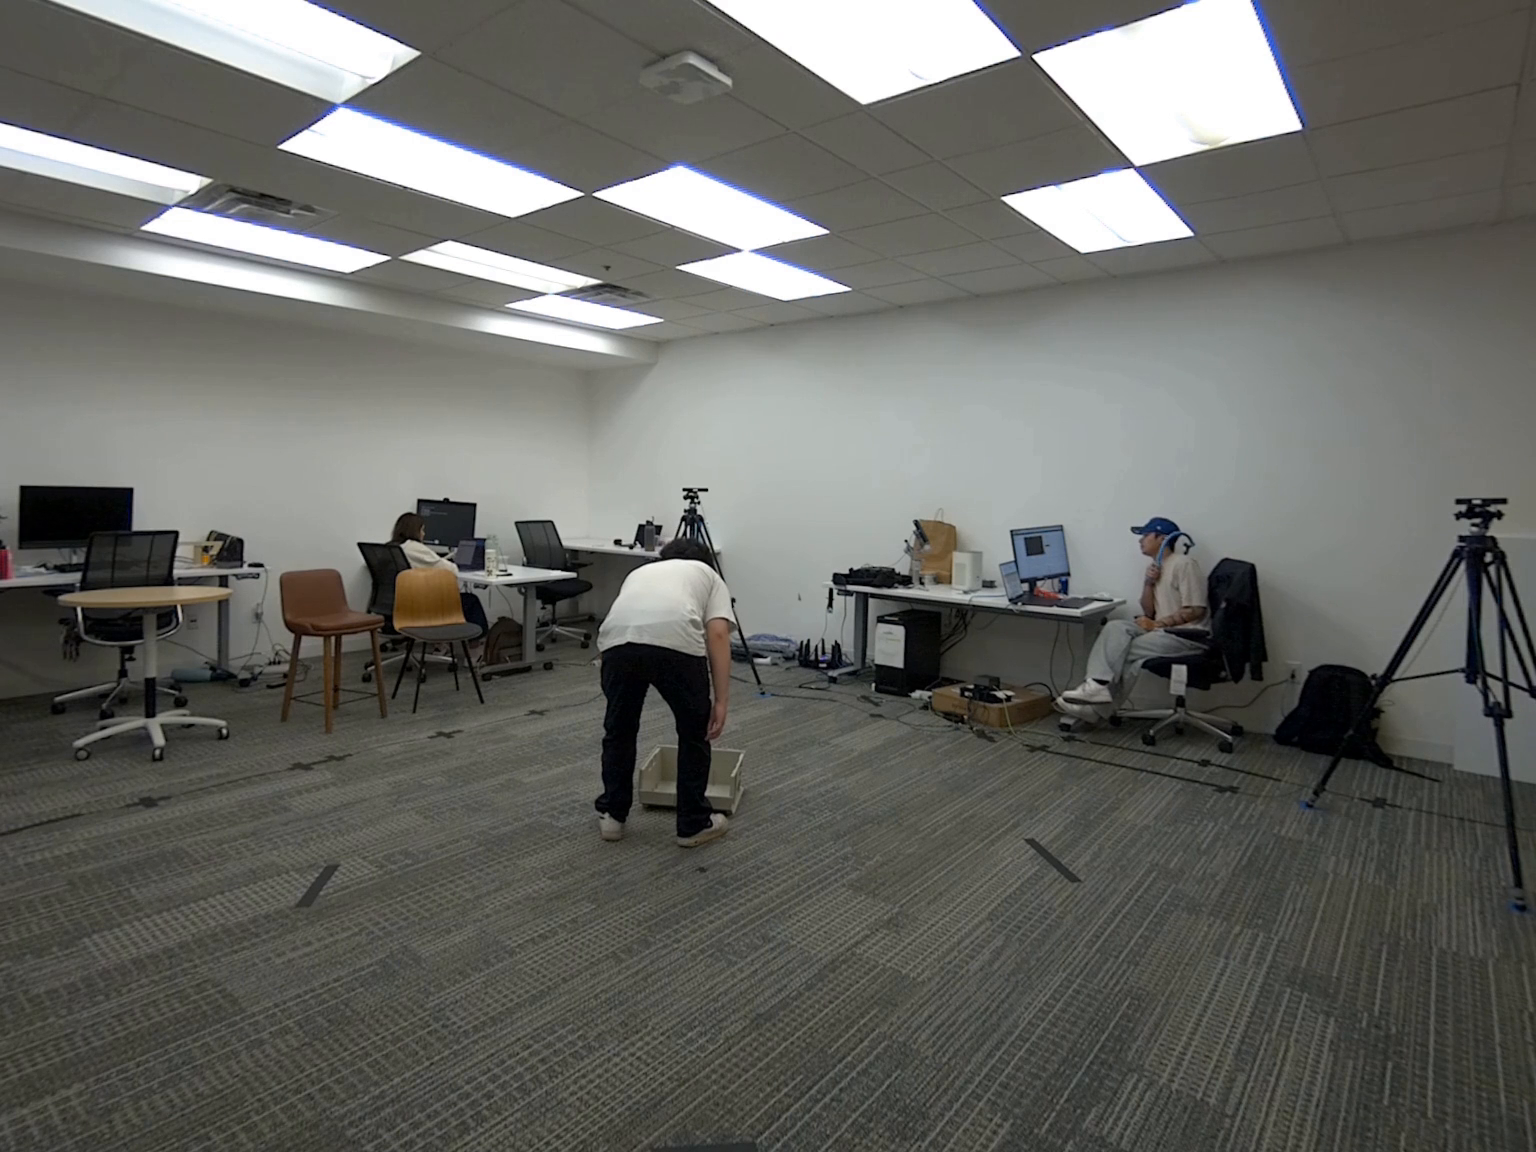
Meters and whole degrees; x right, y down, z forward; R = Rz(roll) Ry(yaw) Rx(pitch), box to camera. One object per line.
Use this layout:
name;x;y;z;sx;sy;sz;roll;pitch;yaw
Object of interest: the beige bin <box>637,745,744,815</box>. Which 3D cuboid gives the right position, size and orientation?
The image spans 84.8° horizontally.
beige bin;-0.344;0.911;3.808;0.426;0.188;0.375;1;4;7
